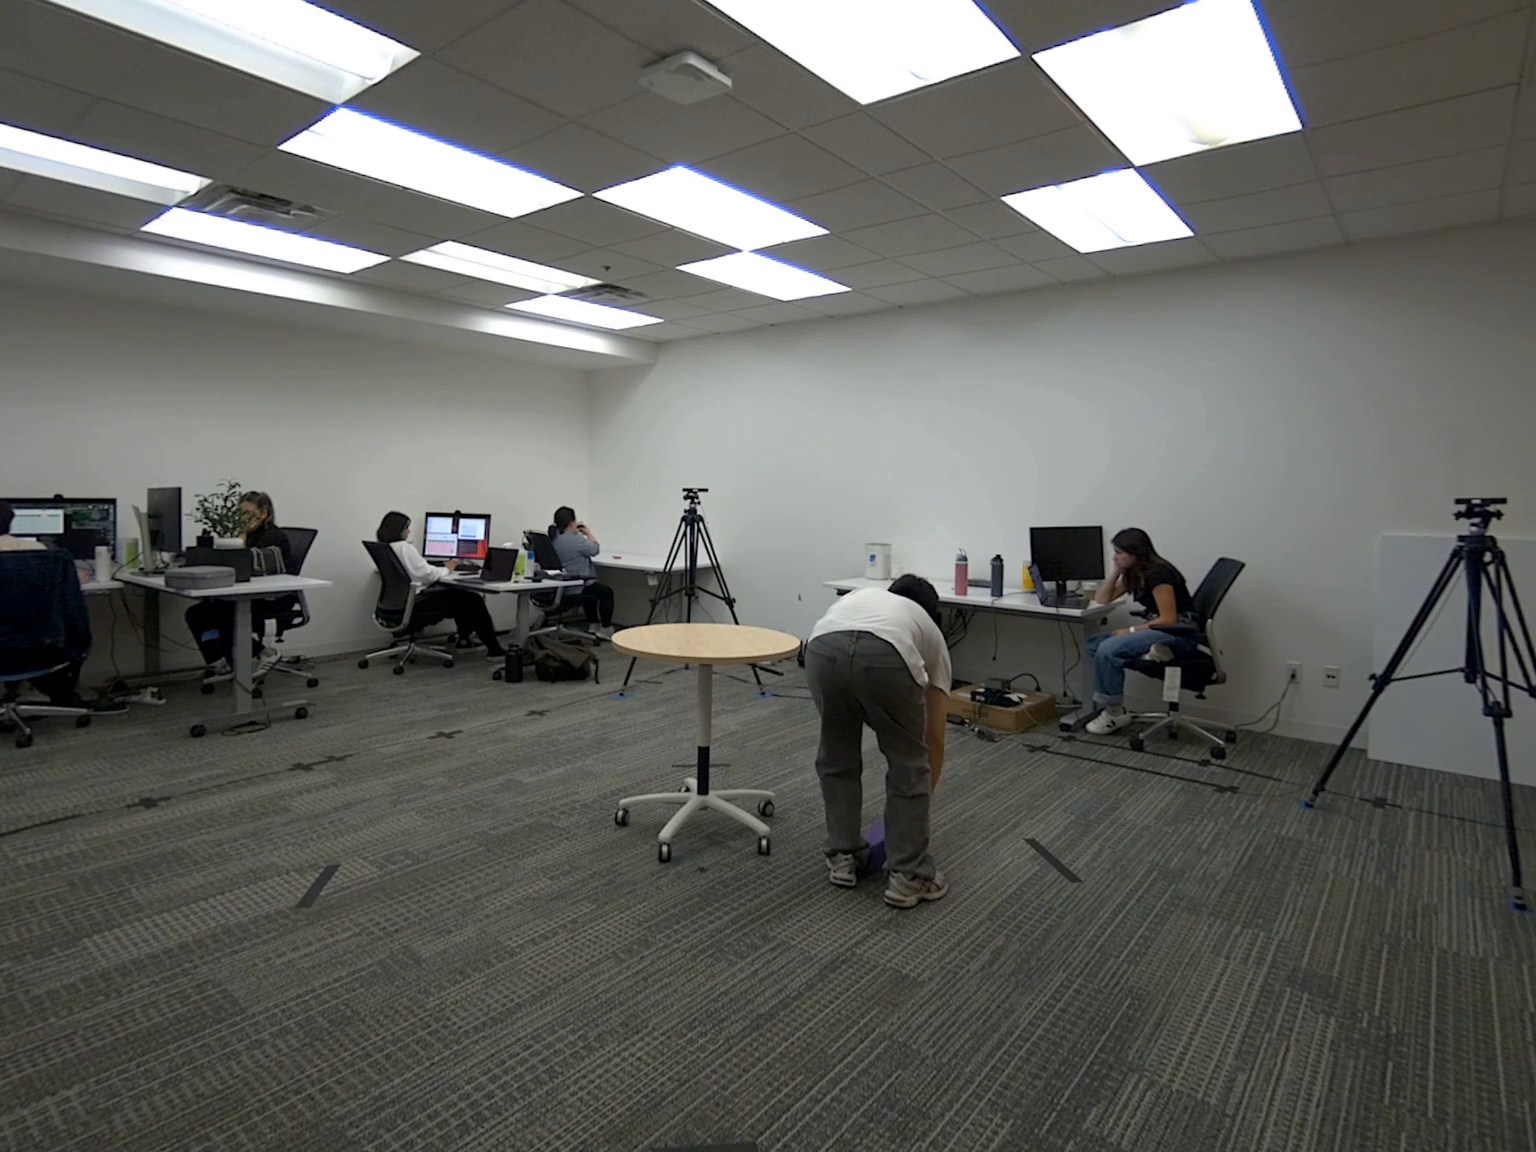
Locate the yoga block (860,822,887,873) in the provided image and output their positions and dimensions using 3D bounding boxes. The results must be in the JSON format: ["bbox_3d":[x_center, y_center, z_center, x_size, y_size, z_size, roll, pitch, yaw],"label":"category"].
[{"bbox_3d":[0.444,0.960,3.157,0.229,0.075,0.151,-28,11,2],"label":"yoga block"}]
